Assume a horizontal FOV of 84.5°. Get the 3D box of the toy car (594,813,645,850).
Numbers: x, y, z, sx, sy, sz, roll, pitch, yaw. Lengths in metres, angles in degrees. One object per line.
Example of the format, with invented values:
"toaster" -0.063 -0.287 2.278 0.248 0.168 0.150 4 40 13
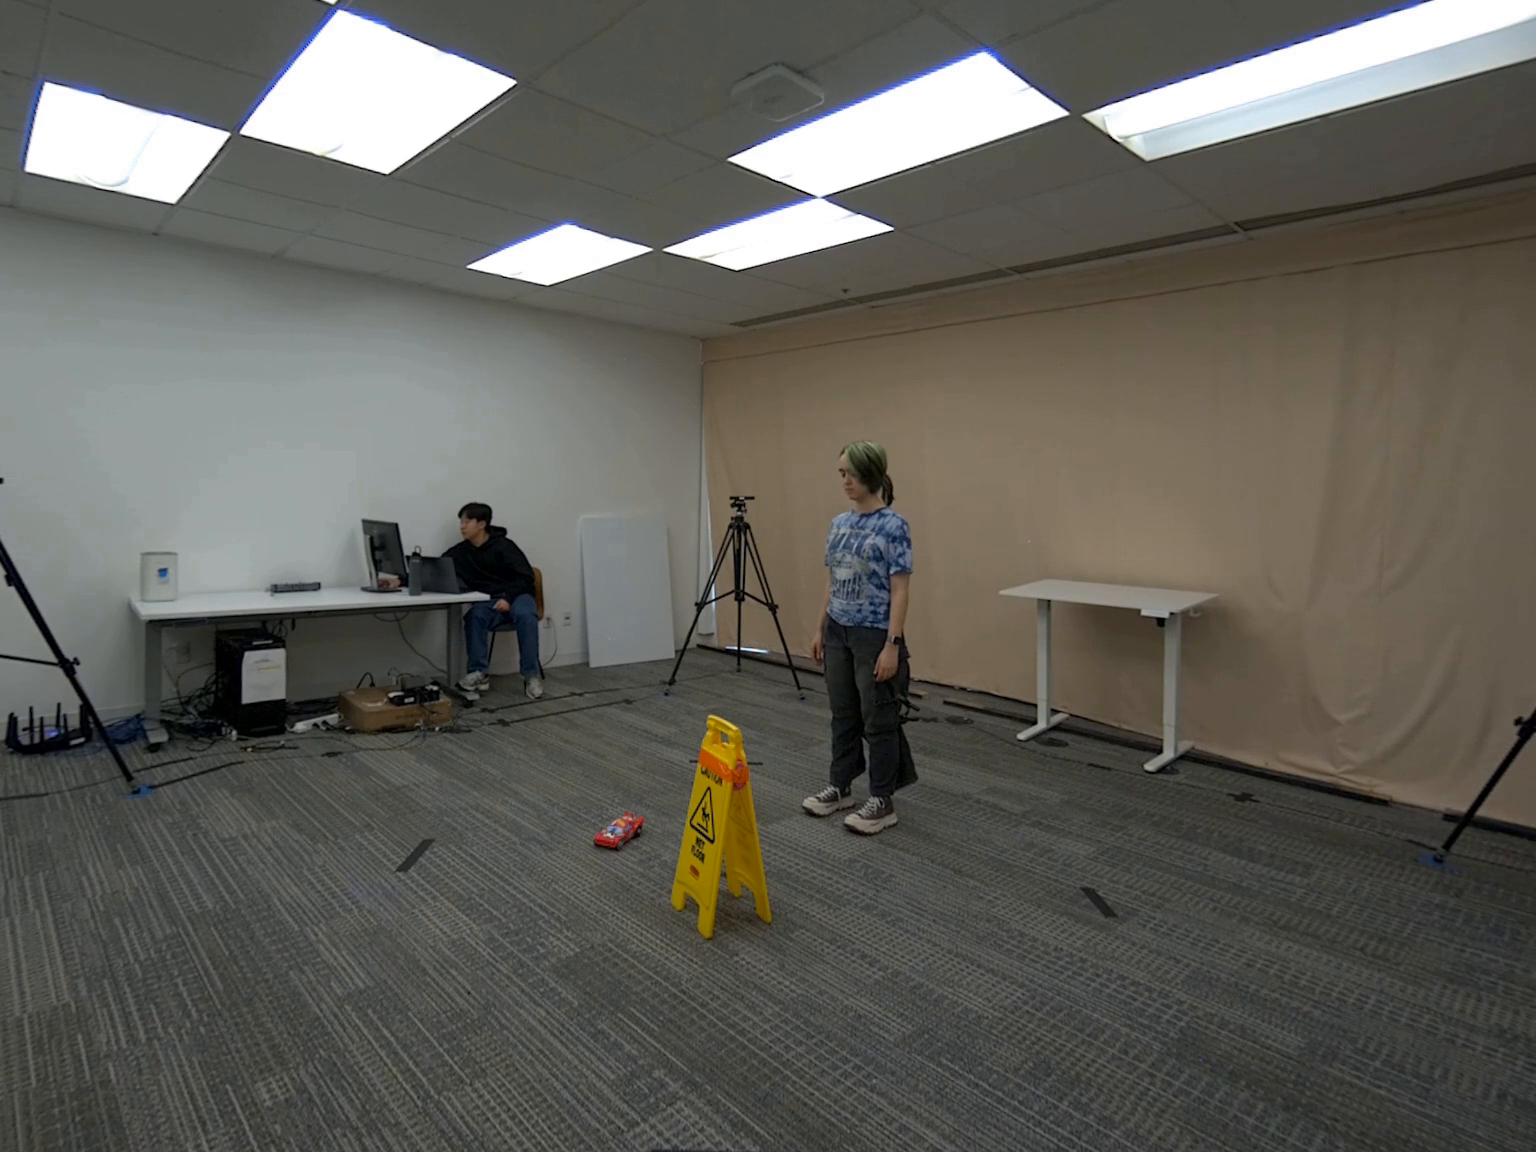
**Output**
"toy car" -0.607 1.036 3.406 0.132 0.082 0.253 3 16 22
